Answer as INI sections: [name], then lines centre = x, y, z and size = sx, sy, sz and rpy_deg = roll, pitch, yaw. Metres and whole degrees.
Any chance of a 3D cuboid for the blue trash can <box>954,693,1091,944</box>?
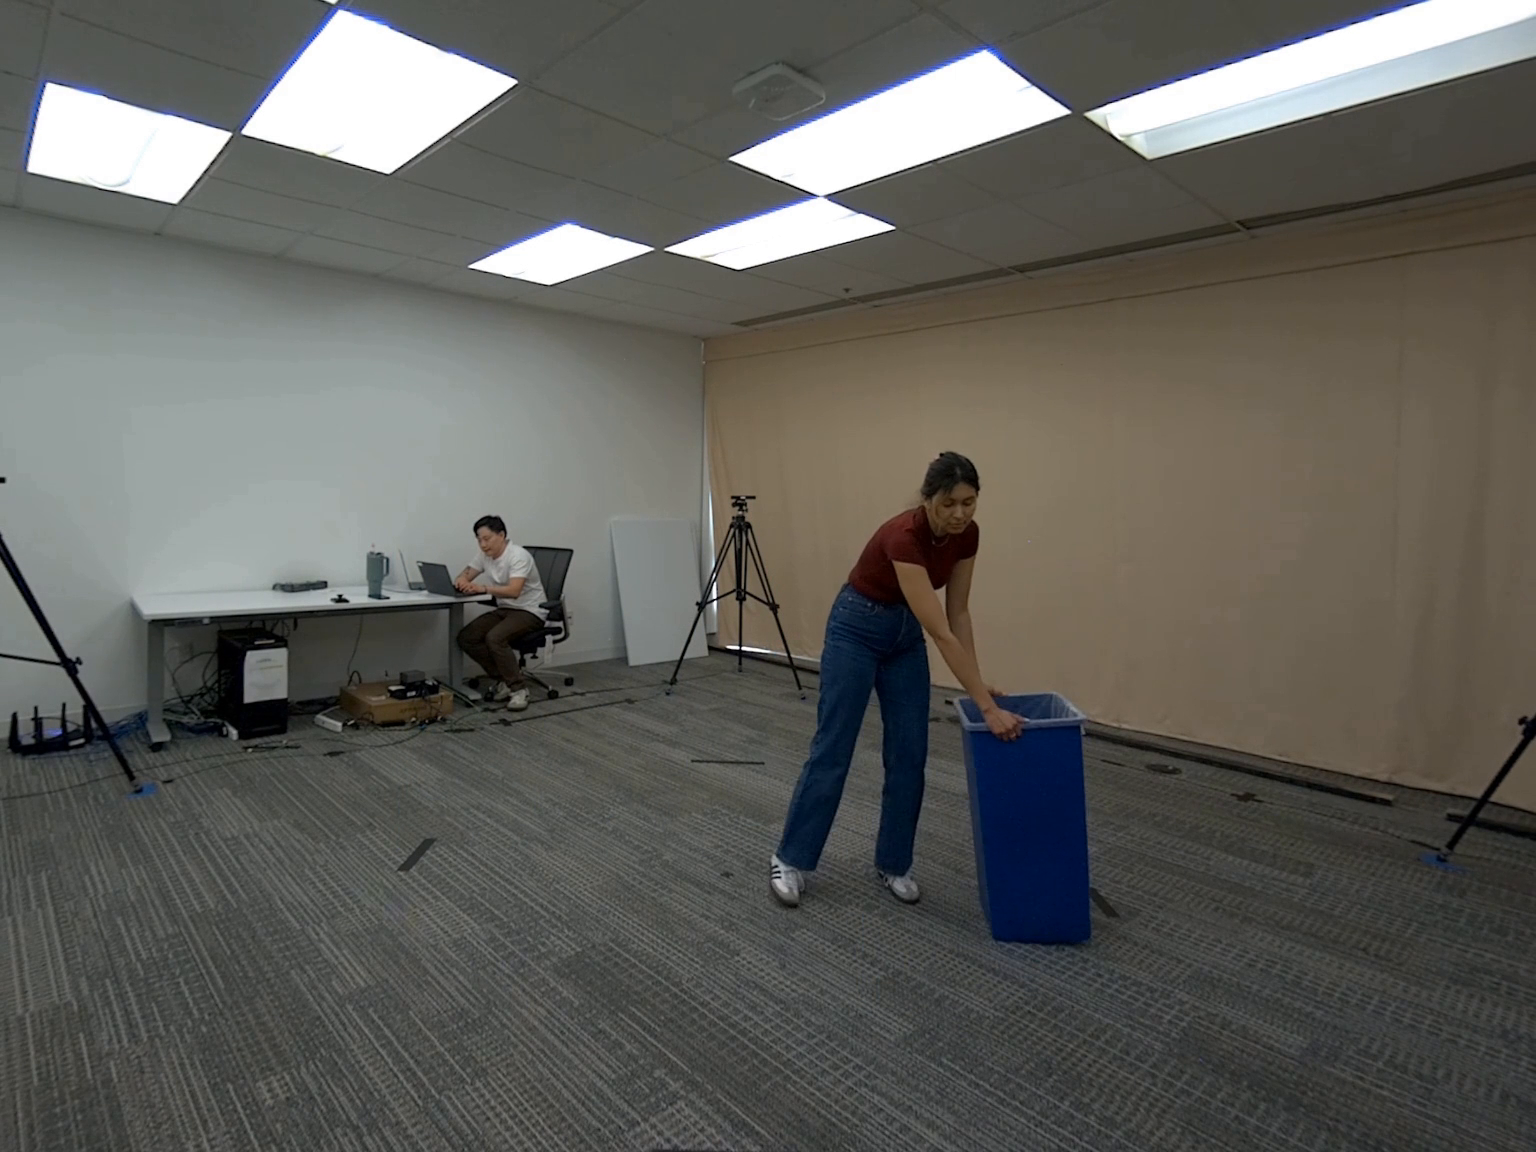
[blue trash can]
centre = 0.833, 0.788, 2.775
size = 0.376, 0.712, 0.376
rpy_deg = -4, 3, 8
